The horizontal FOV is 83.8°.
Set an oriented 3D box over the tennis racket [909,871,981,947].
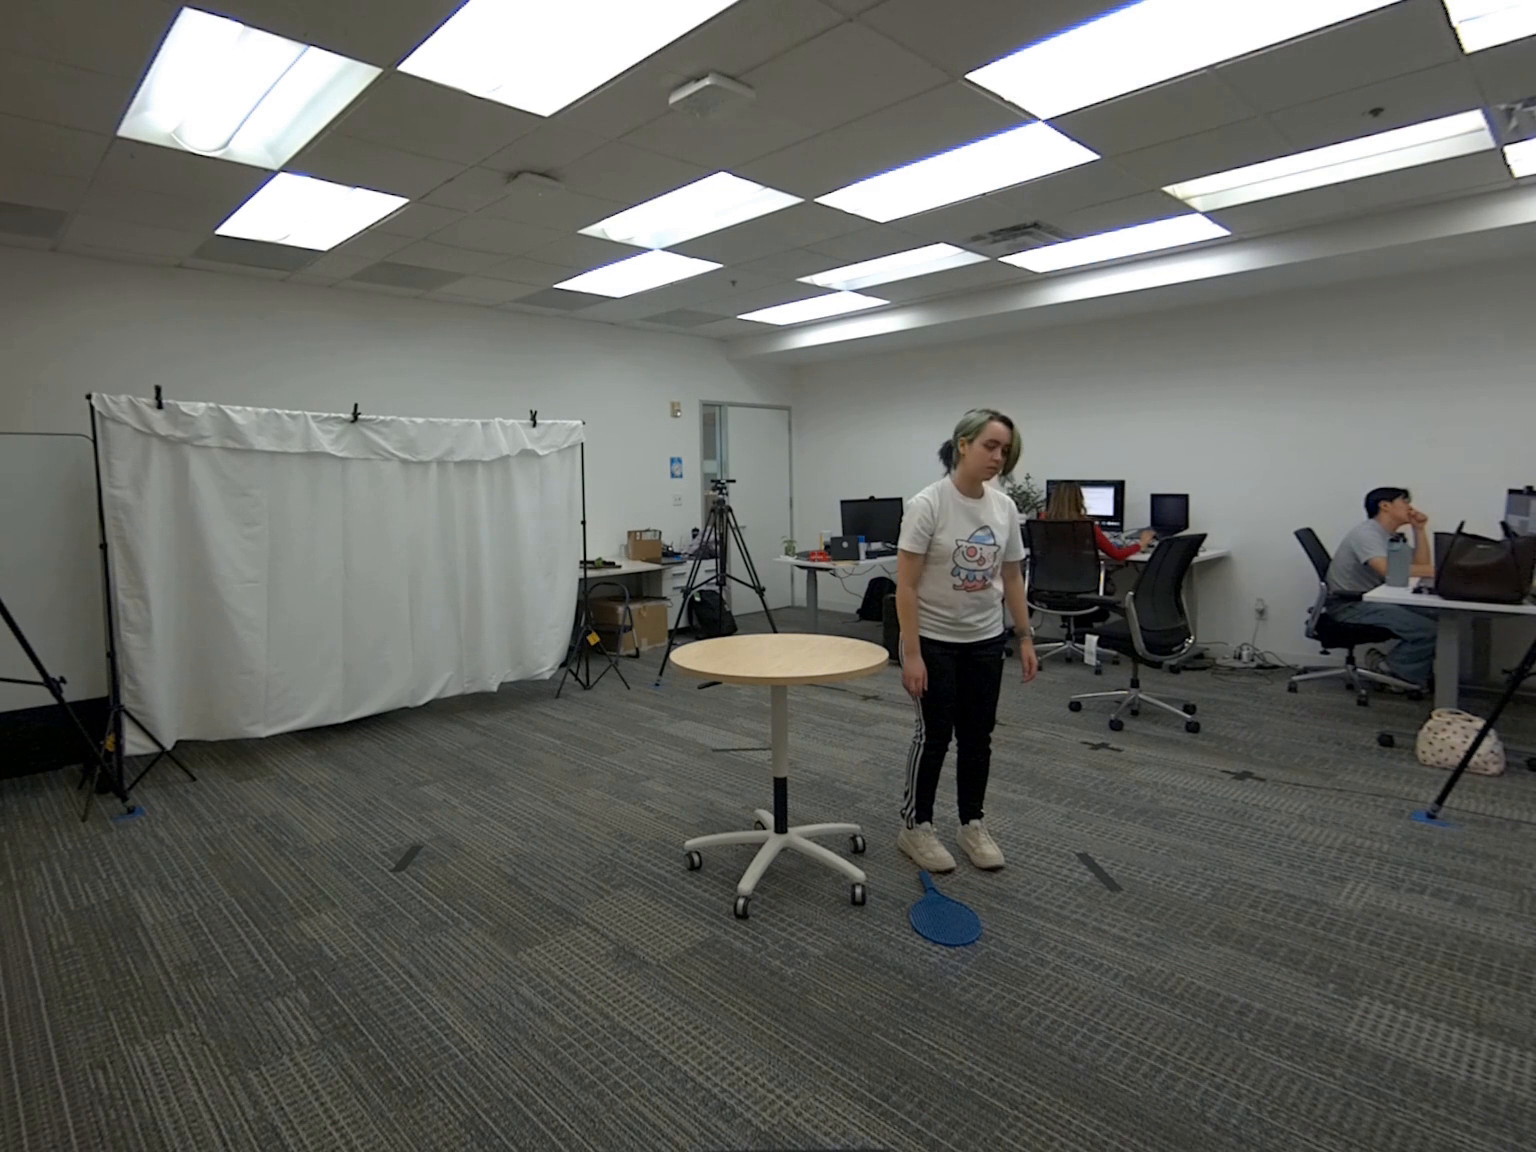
[{"bbox_3d":[0.550,1.063,2.753,0.214,0.031,0.435,-2,8,-1],"label":"tennis racket"}]
